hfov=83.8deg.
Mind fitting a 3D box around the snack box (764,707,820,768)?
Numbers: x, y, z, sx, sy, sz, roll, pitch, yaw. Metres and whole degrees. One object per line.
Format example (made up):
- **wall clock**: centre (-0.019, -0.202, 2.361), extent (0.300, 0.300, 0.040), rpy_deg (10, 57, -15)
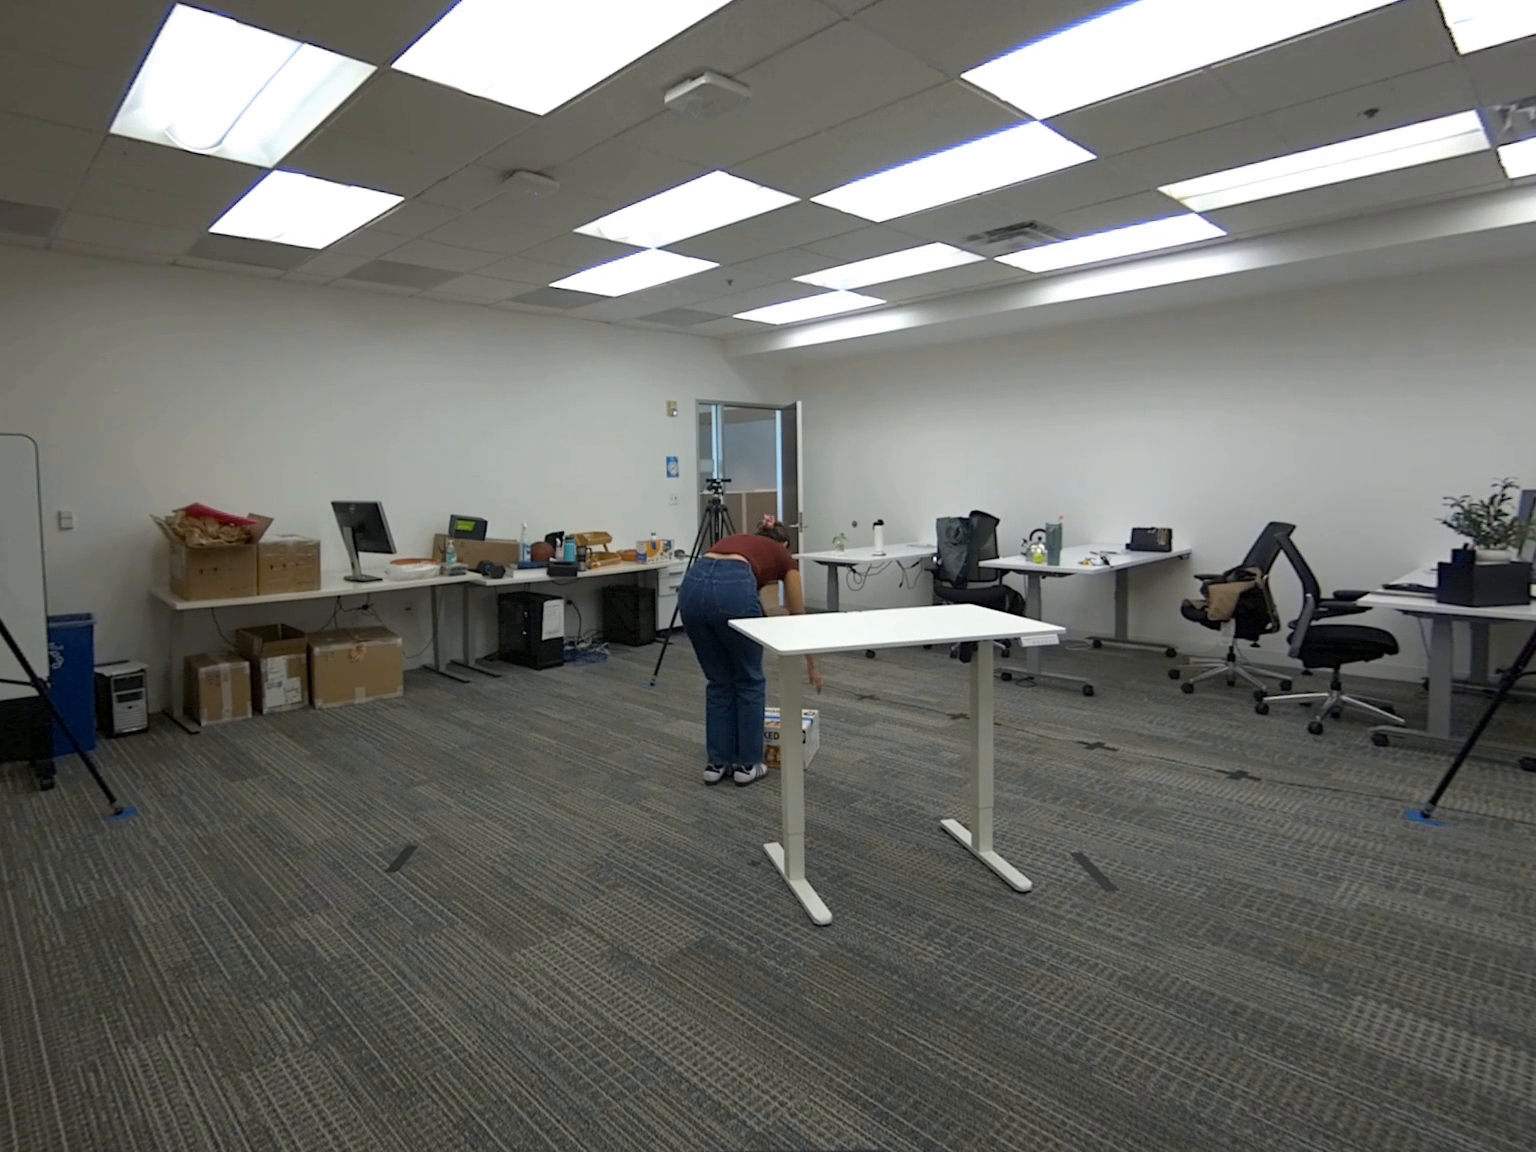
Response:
- **snack box**: centre (0.026, 0.812, 4.312), extent (0.411, 0.205, 0.337), rpy_deg (0, 6, 15)
